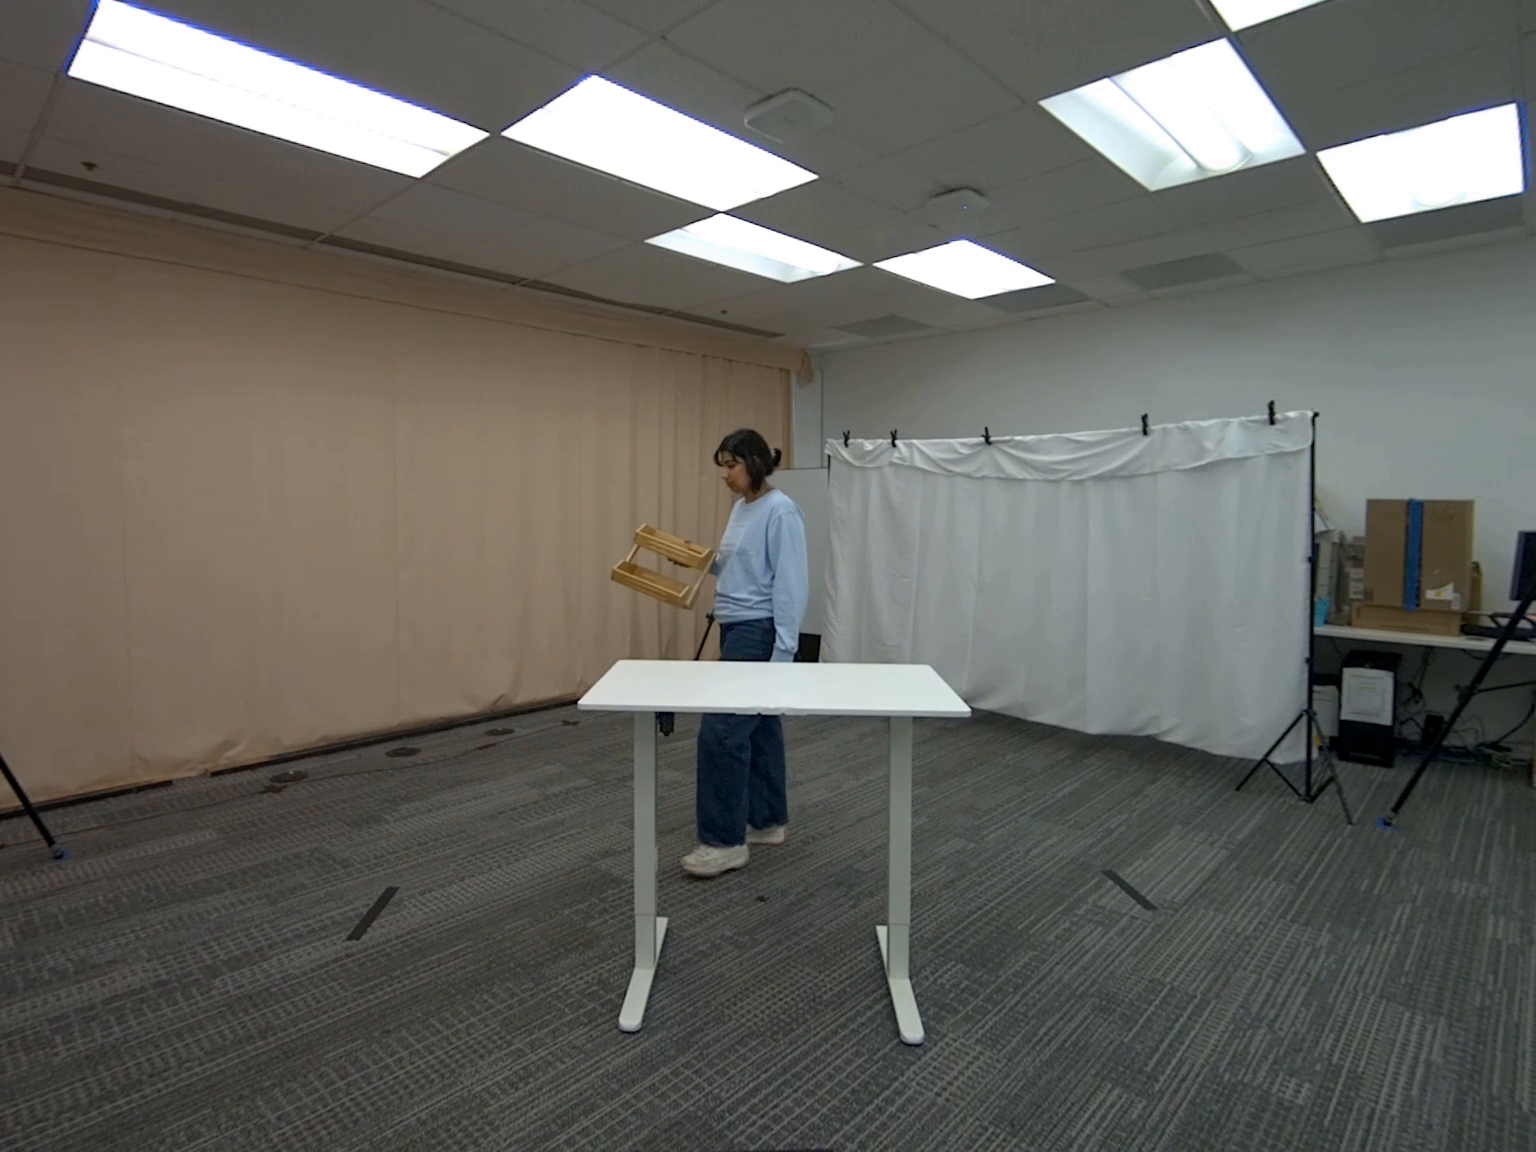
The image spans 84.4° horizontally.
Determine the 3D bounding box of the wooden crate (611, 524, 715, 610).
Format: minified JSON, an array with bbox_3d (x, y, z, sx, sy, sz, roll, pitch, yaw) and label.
[{"bbox_3d":[-0.415,-0.043,3.426,0.329,0.273,0.297,21,-3,11],"label":"wooden crate"}]
